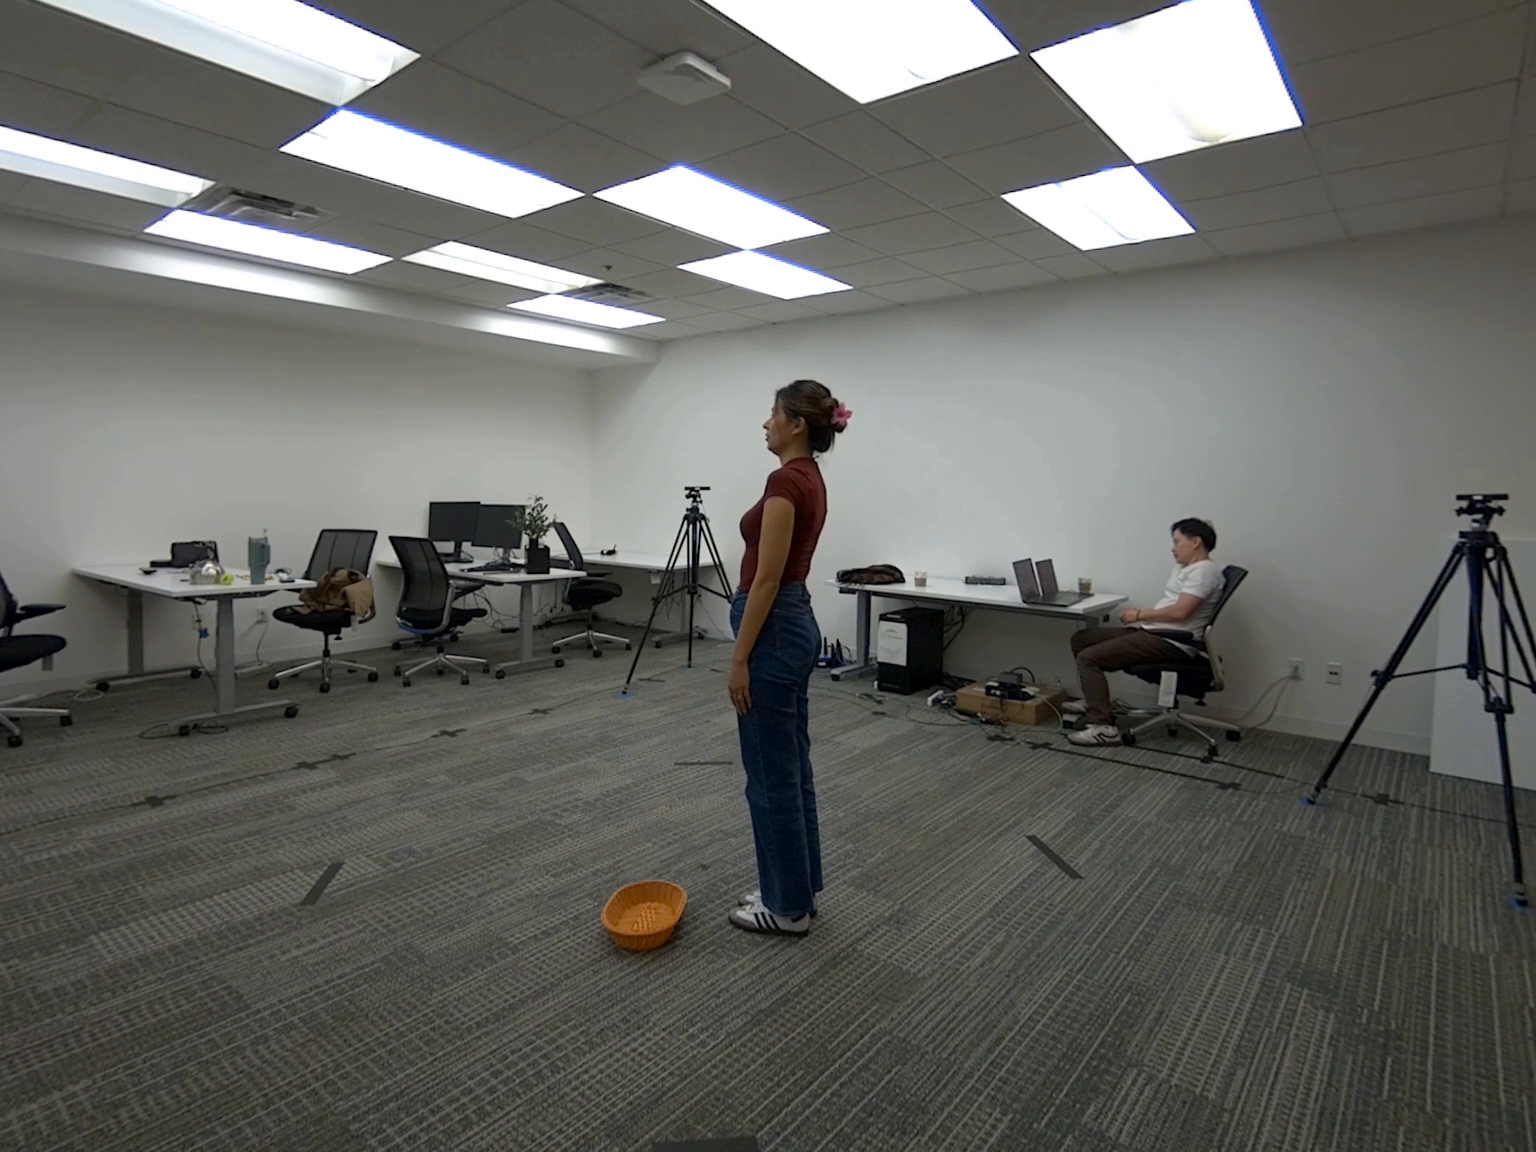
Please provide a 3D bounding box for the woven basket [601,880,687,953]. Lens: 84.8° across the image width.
[{"bbox_3d":[-0.403,1.081,2.684,0.255,0.073,0.347,0,6,10],"label":"woven basket"}]
